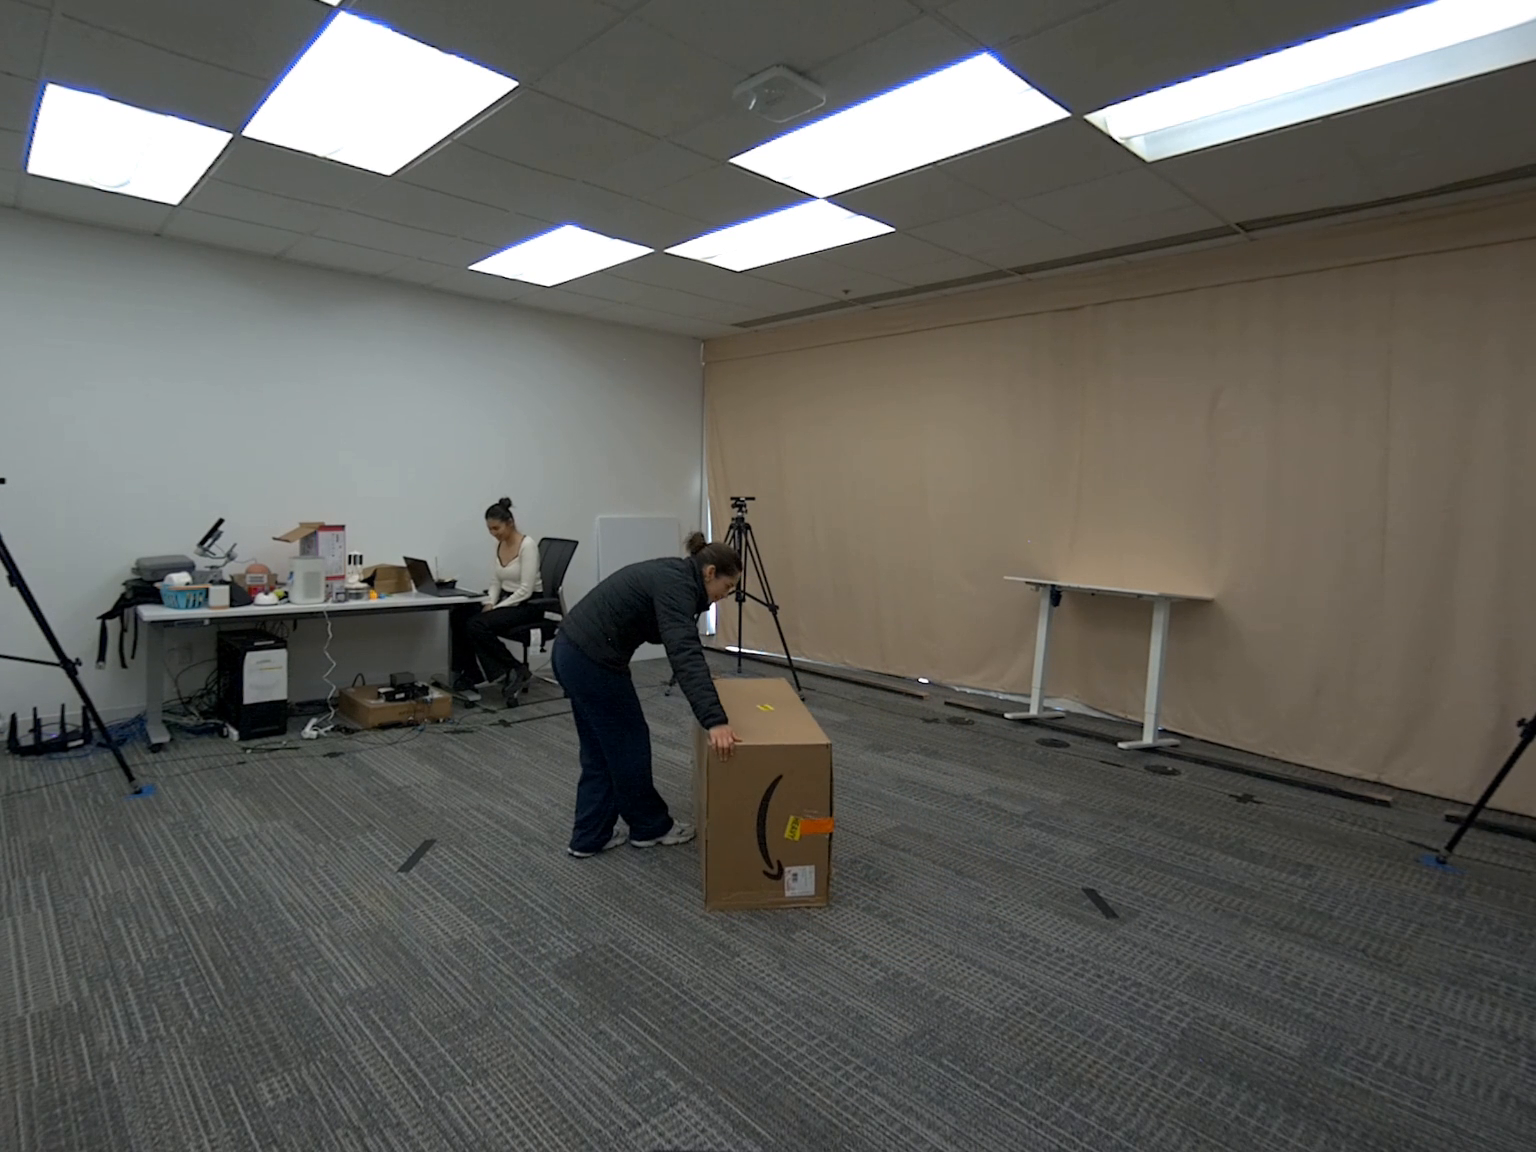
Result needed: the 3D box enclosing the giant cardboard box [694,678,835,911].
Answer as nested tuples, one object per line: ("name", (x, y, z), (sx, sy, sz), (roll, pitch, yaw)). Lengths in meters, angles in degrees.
("giant cardboard box", (-0.068, 0.800, 3.337), (0.444, 0.582, 1.036), (1, 5, -8))
